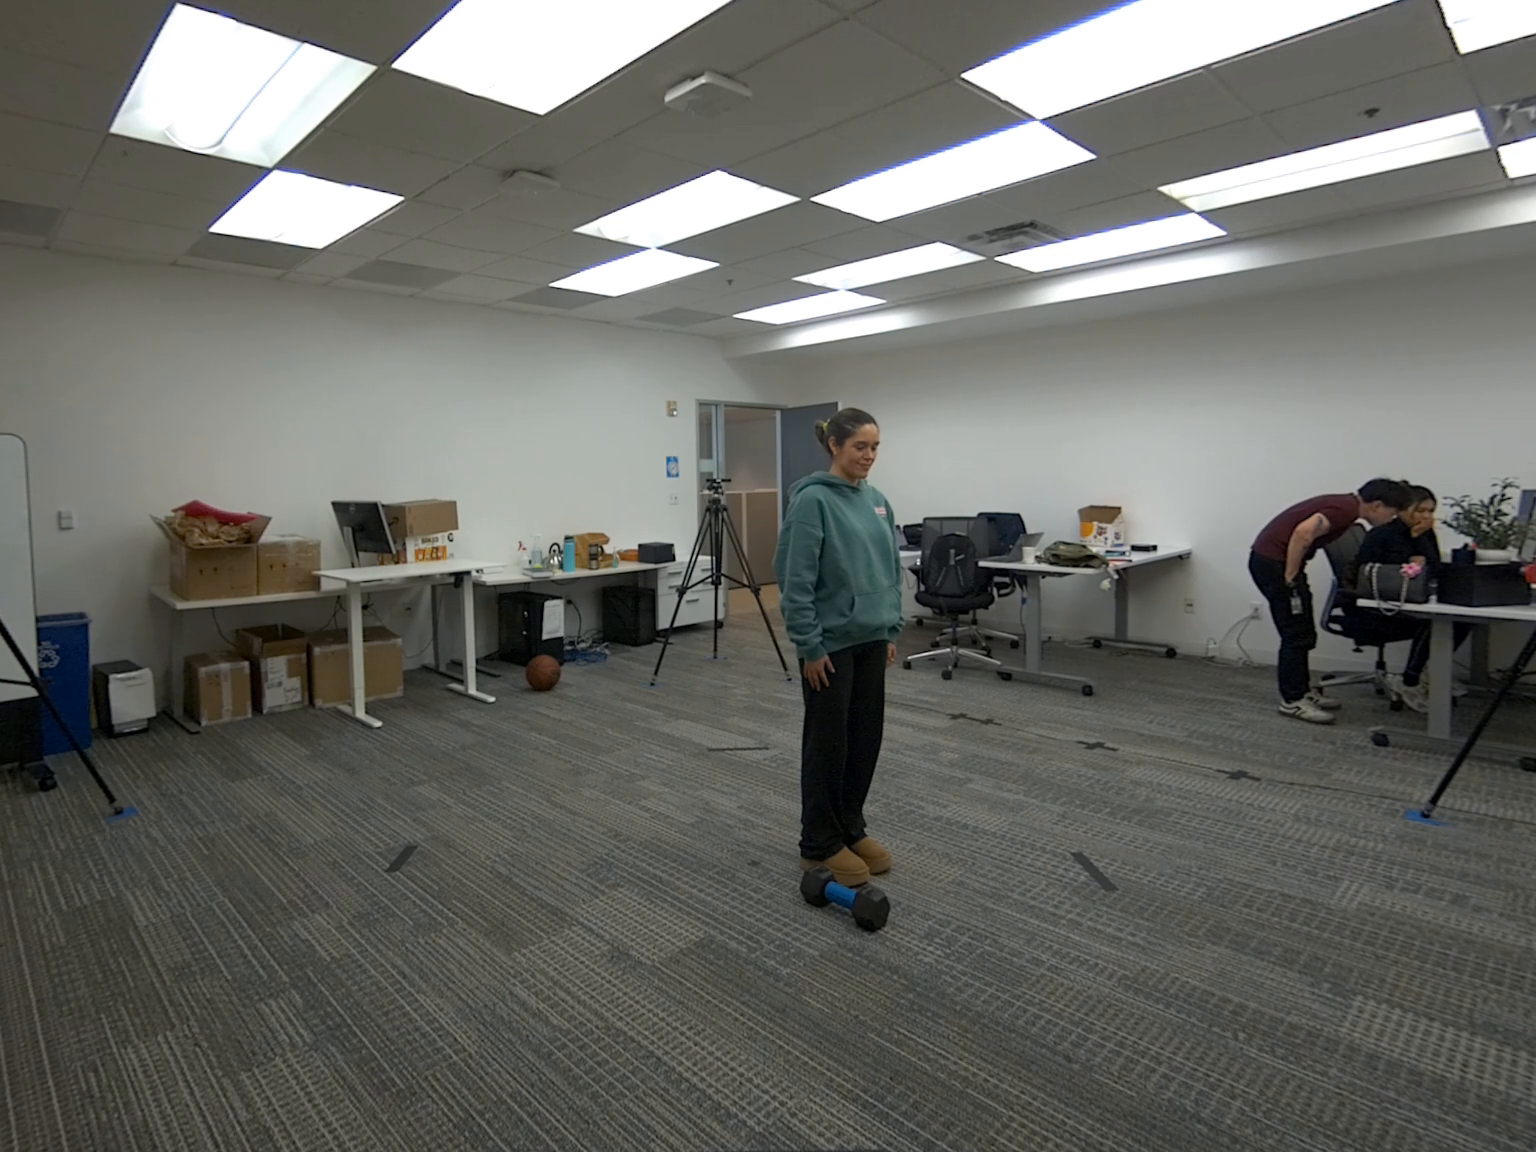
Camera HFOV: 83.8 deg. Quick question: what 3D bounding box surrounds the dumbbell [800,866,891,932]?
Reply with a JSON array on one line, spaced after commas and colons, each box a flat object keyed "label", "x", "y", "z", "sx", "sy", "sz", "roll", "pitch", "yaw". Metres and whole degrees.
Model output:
[{"label": "dumbbell", "x": 0.245, "y": 1.032, "z": 2.735, "sx": 0.303, "sy": 0.119, "sz": 0.108, "roll": 5, "pitch": 39, "yaw": 45}]
